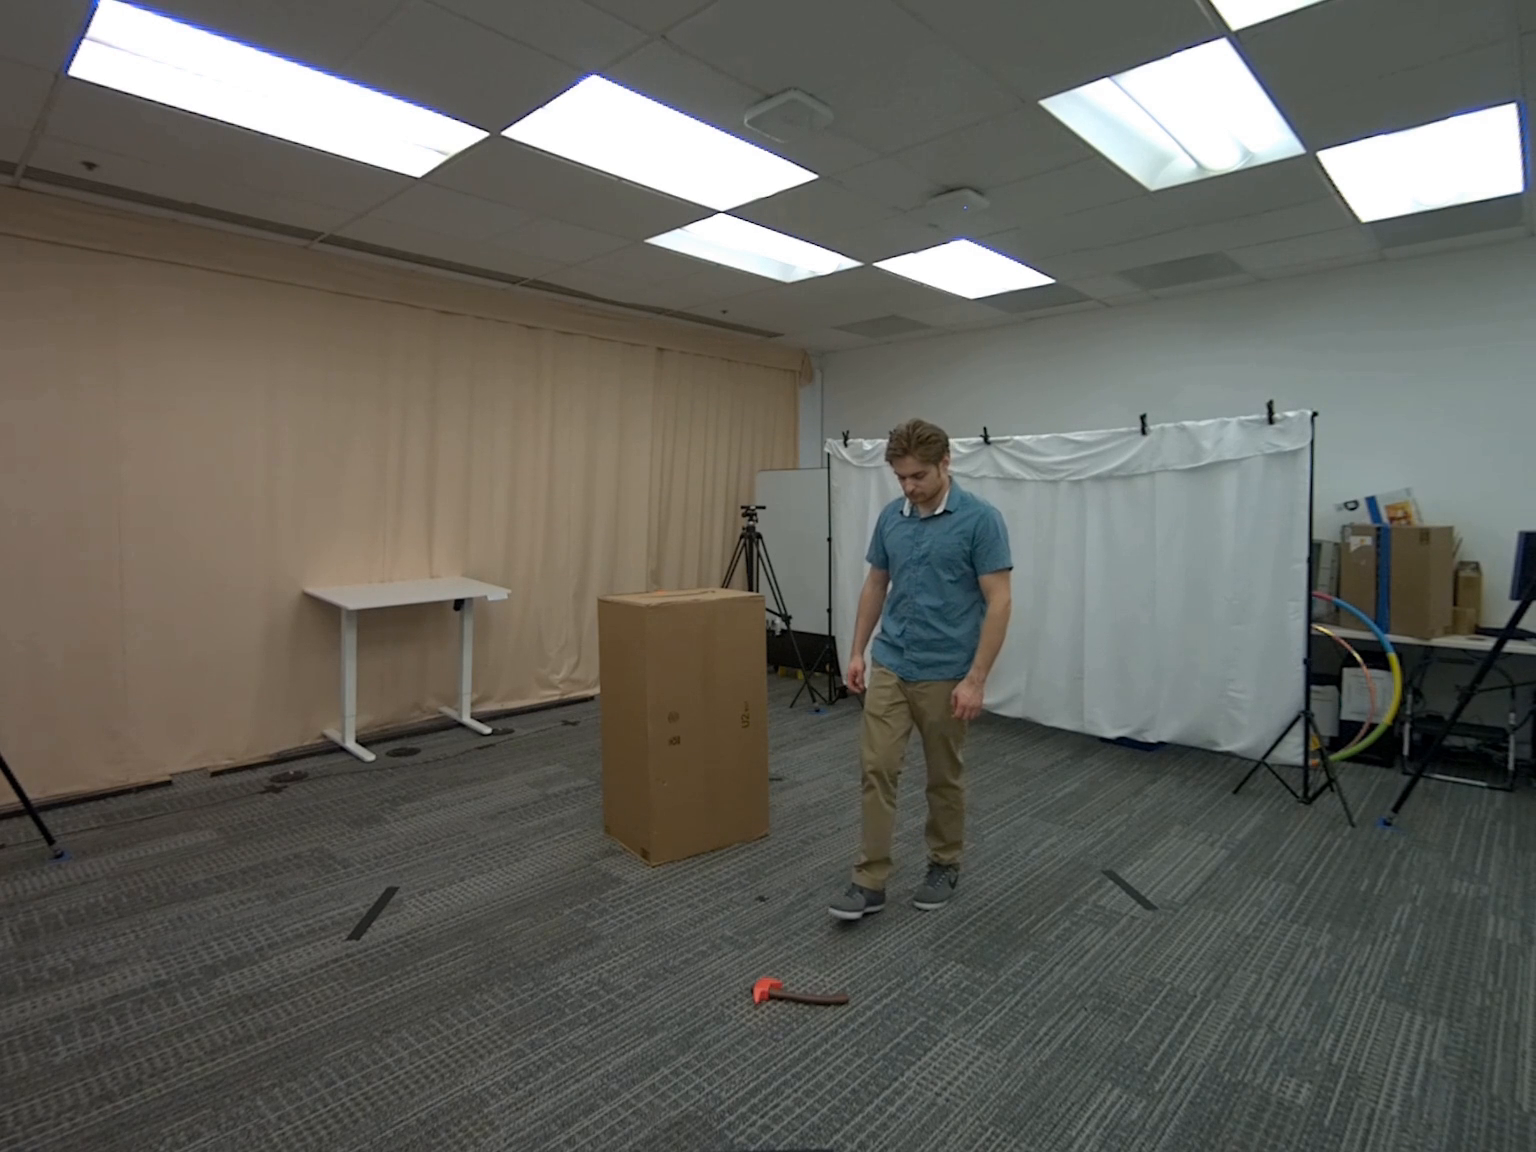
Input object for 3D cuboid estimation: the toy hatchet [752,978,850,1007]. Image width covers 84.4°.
[{"bbox_3d":[0.093,1.183,2.393,0.269,0.029,0.132,2,0,-5],"label":"toy hatchet"}]
